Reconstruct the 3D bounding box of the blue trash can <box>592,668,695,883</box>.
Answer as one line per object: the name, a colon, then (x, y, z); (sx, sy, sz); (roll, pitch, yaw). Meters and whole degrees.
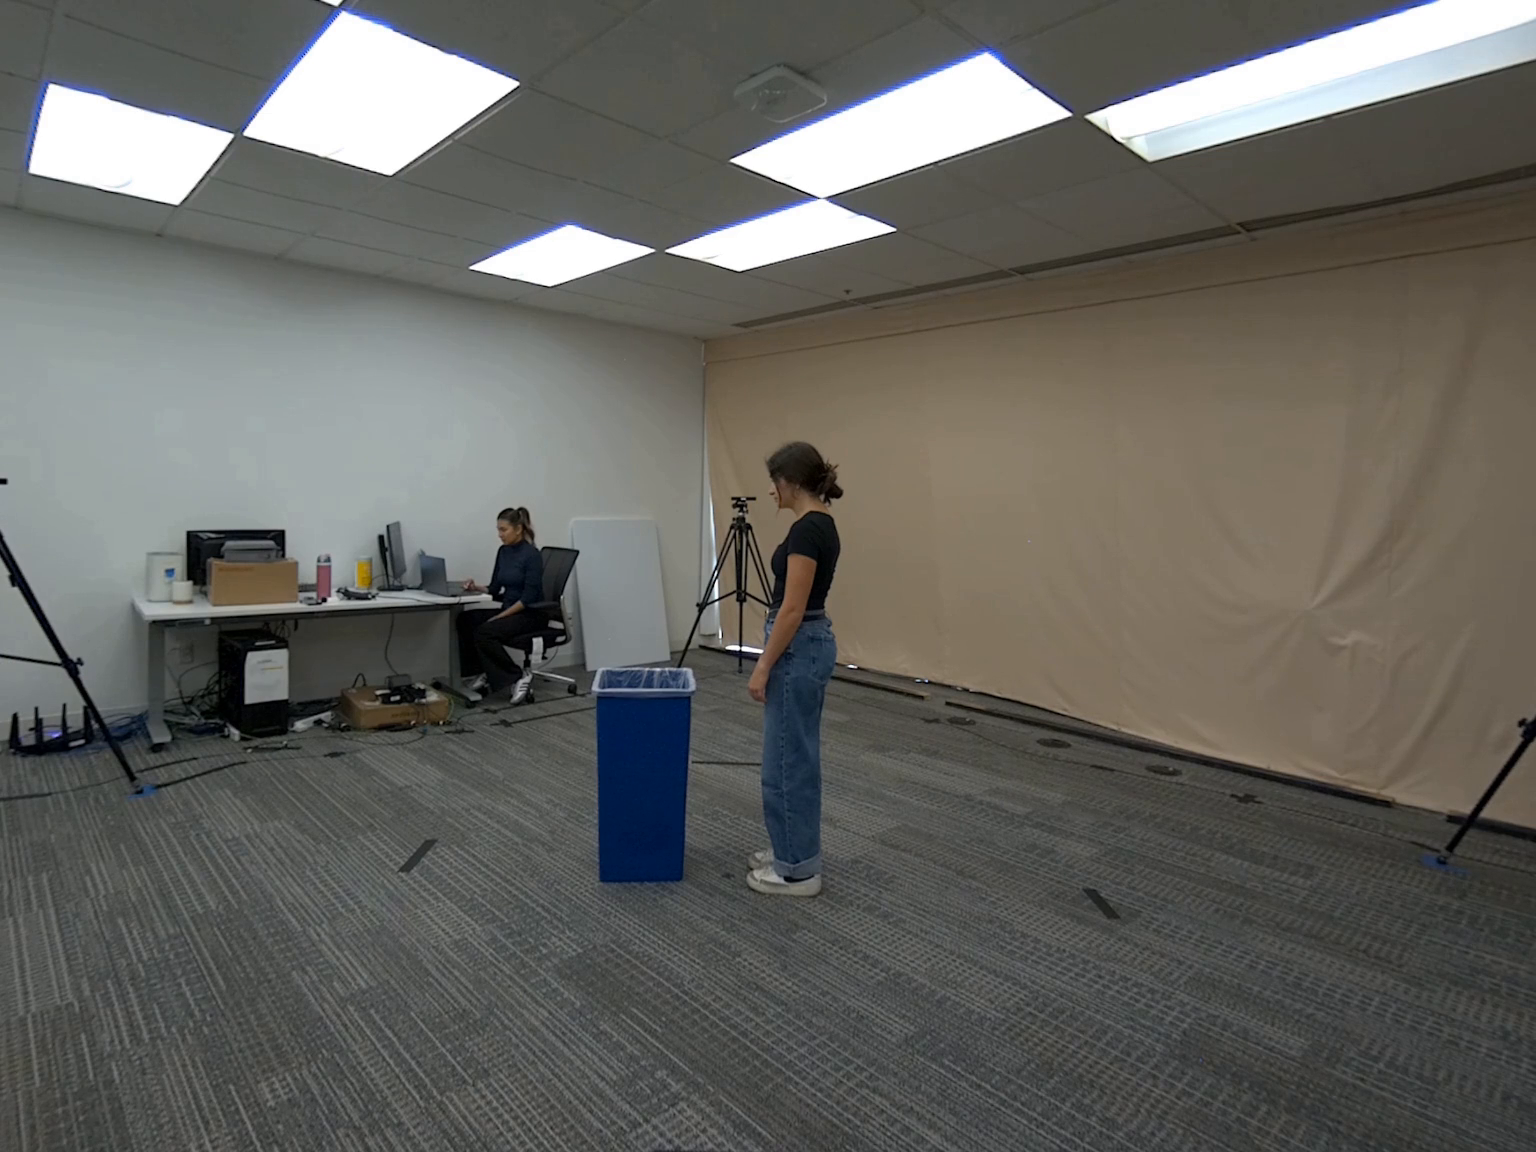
blue trash can: (-0.469, 0.735, 3.165); (0.376, 0.712, 0.377); (0, 3, -7)
